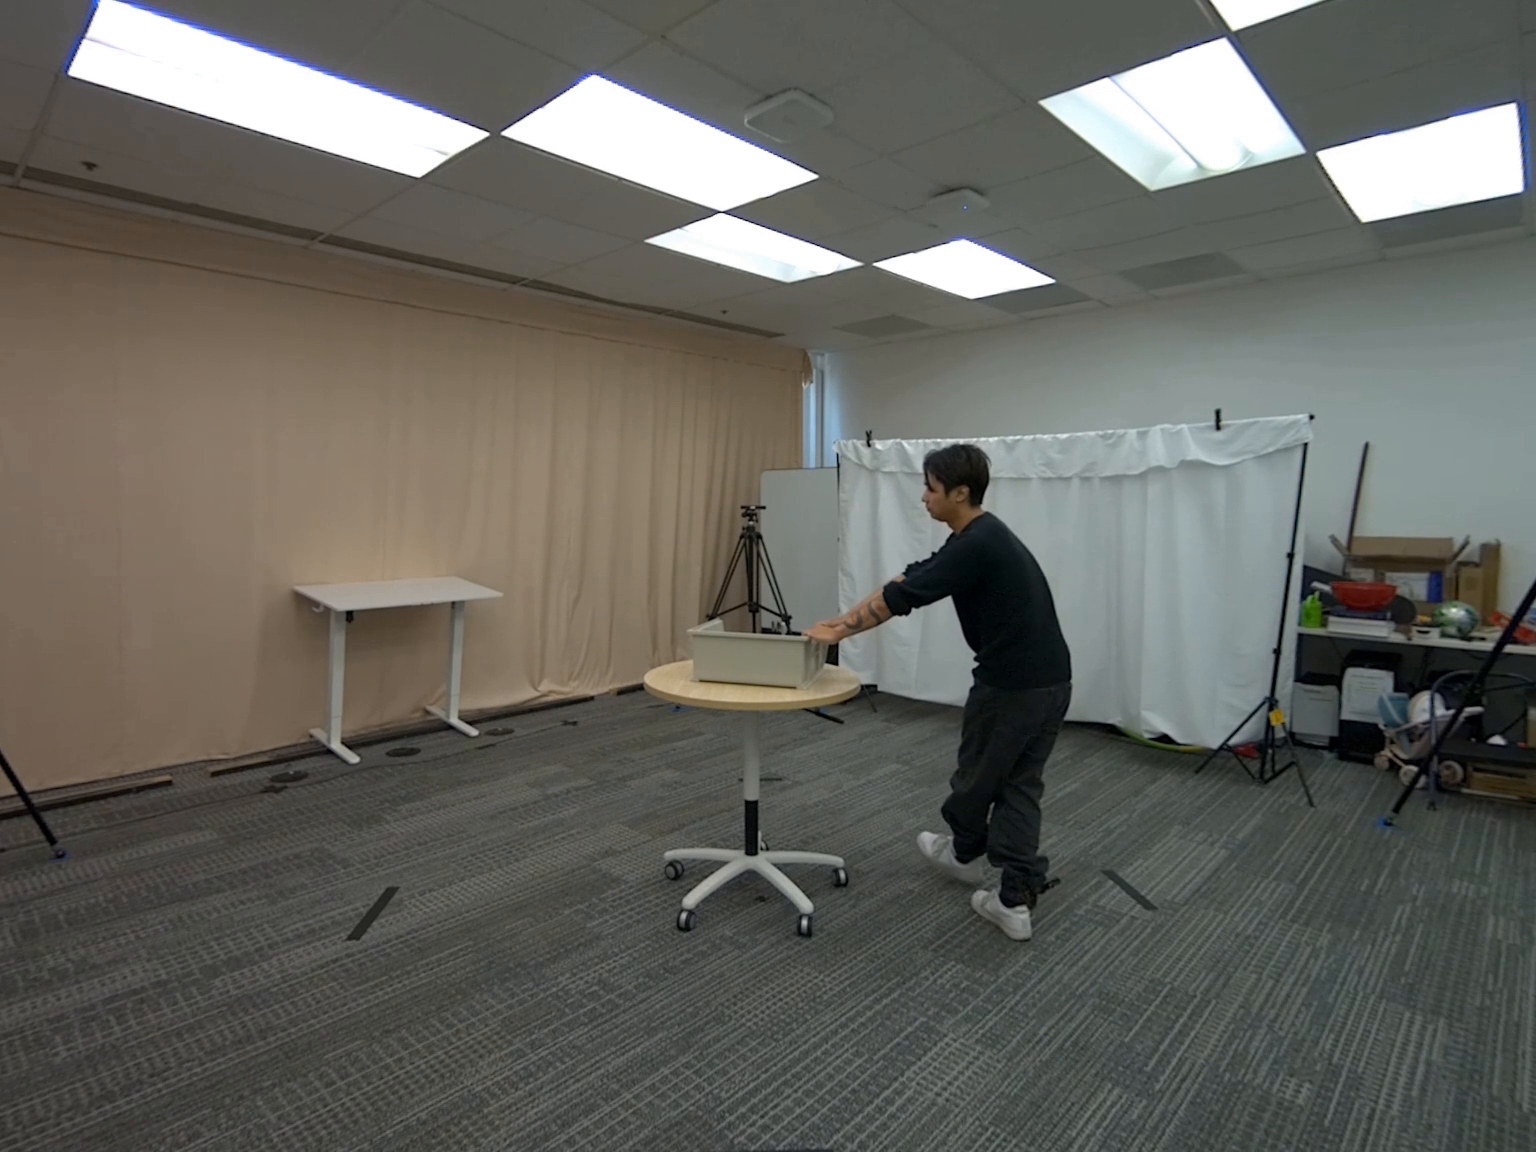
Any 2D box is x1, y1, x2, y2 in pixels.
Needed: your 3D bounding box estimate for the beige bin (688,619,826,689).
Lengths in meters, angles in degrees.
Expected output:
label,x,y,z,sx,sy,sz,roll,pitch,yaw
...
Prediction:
label,x,y,z,sx,sy,sz,roll,pitch,yaw
beige bin,-0.022,0.268,3.009,0.430,0.188,0.372,2,7,16
